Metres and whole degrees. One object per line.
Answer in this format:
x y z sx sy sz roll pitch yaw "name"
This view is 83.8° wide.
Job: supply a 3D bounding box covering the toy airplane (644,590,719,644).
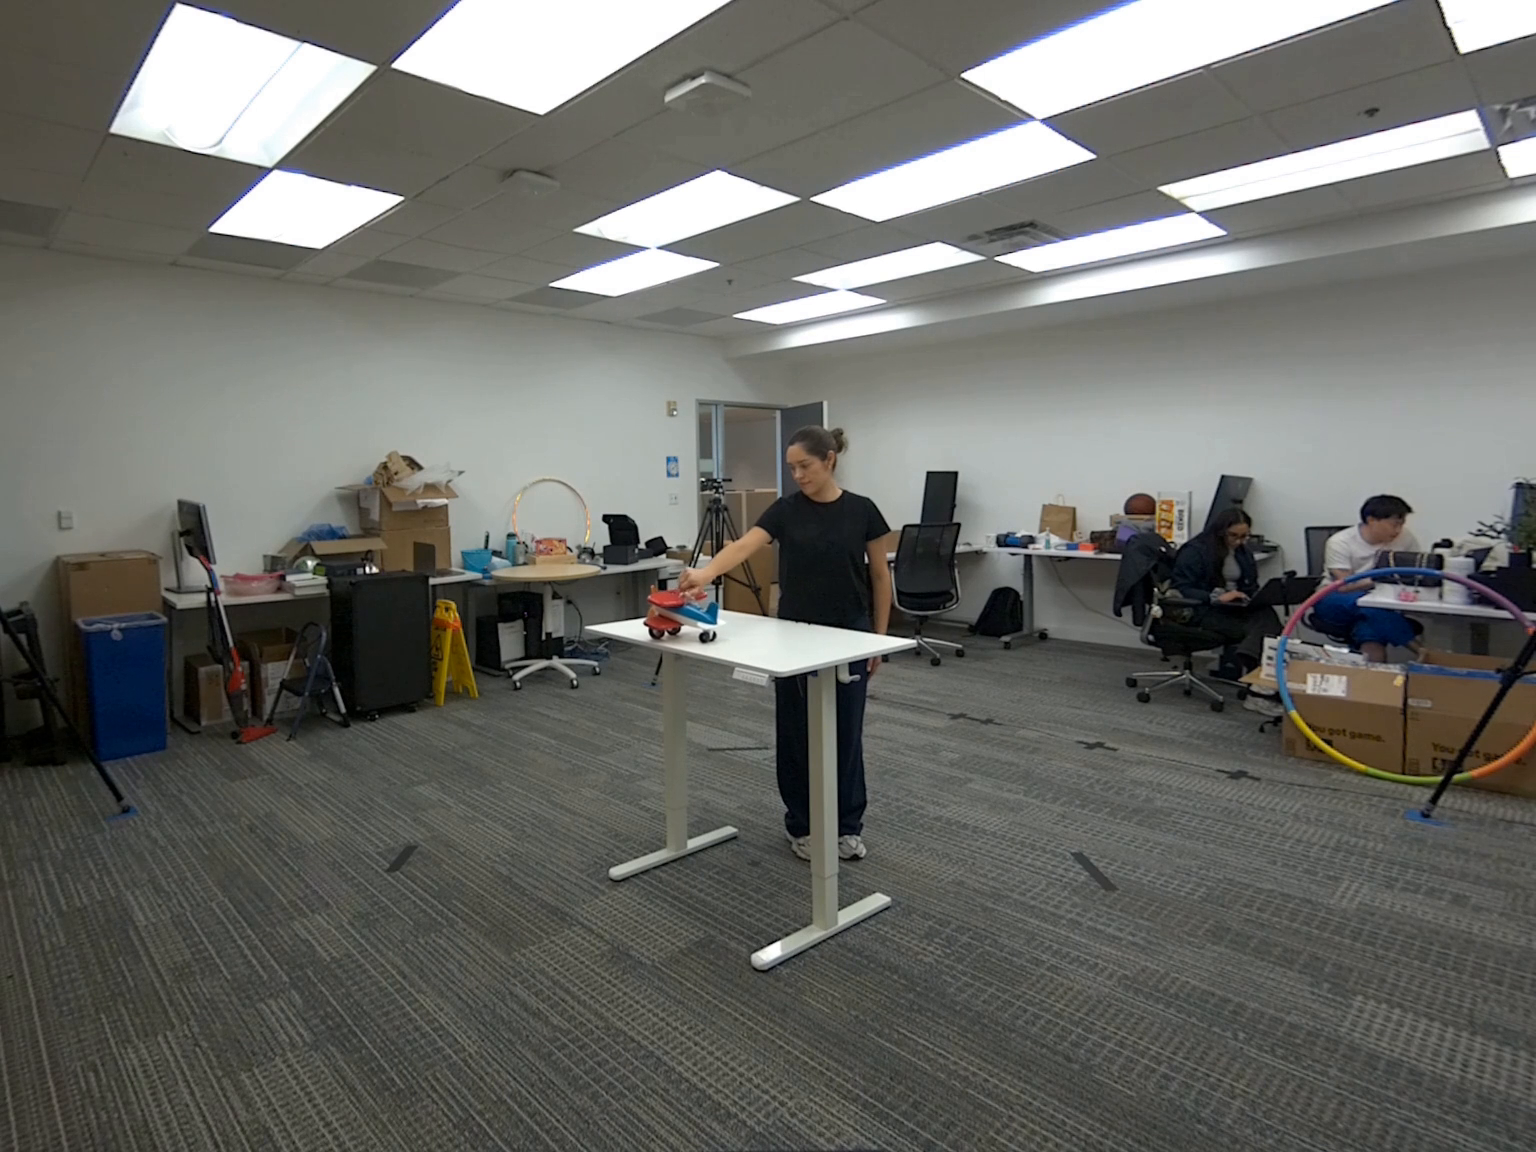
-0.254 0.125 2.792 0.260 0.156 0.251 -1 5 5 "toy airplane"
